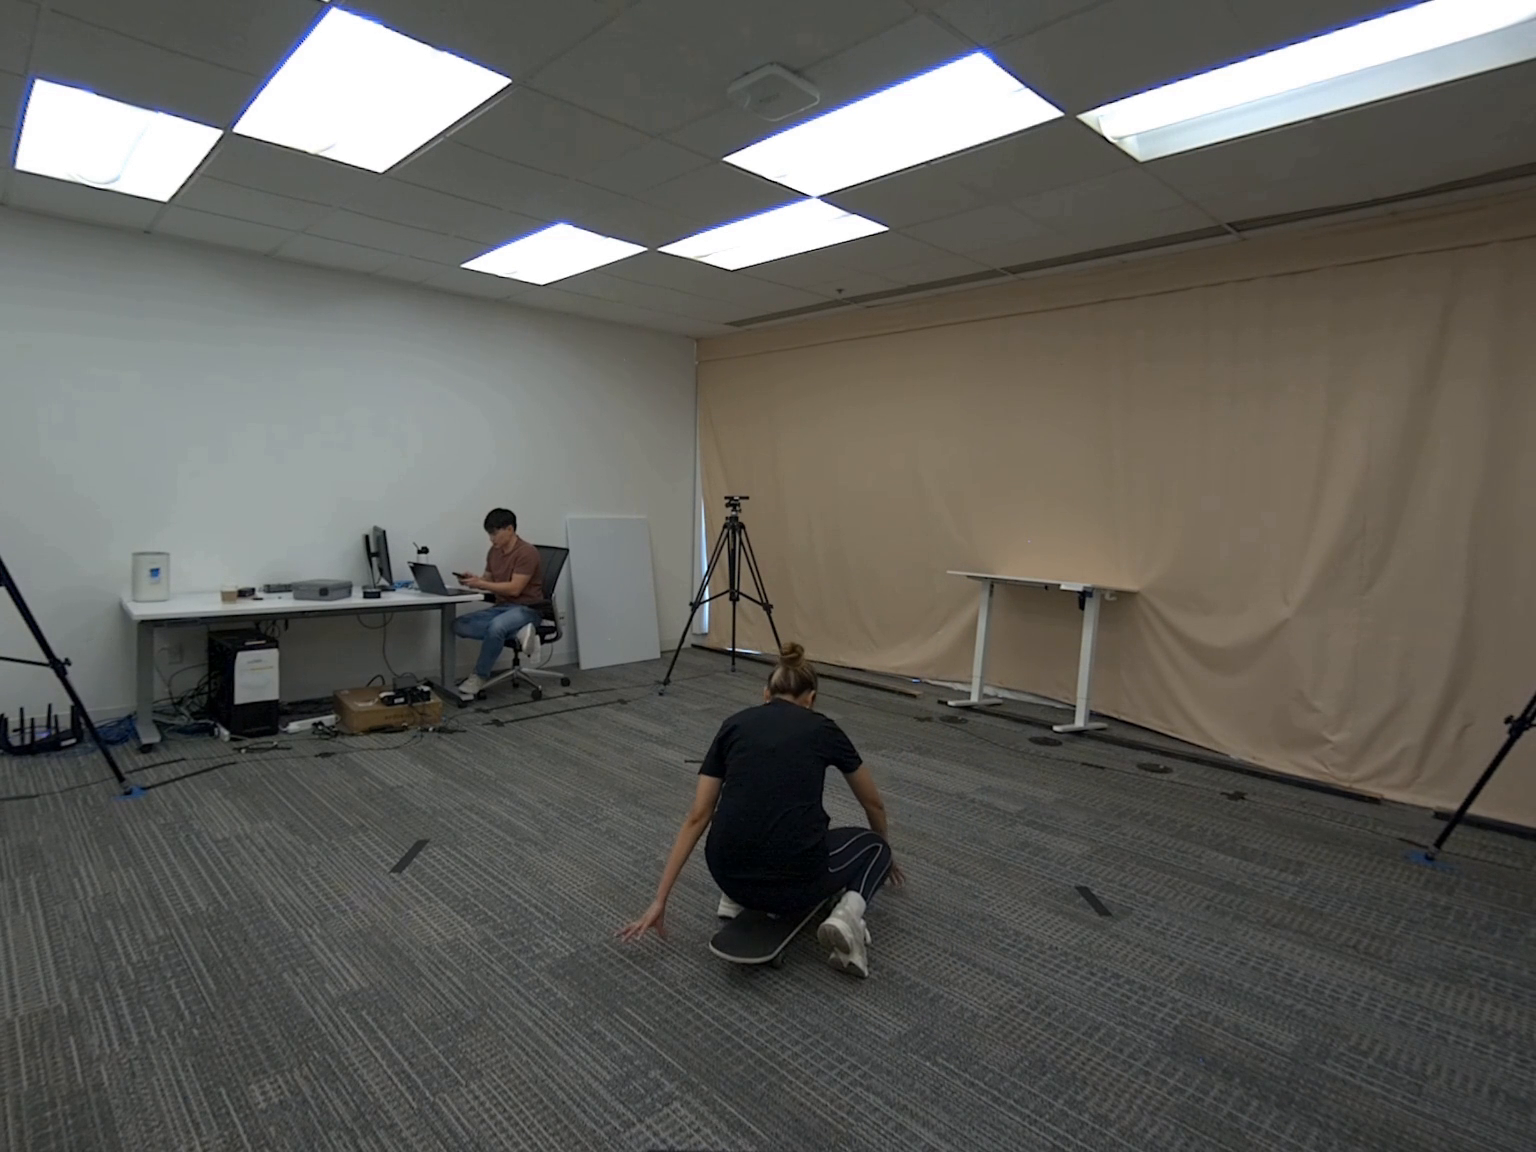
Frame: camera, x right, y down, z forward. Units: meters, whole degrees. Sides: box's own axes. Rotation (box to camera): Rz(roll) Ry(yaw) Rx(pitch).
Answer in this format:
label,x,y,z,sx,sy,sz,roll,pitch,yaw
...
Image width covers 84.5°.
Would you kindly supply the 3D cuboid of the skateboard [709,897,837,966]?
label,x,y,z,sx,sy,sz,roll,pitch,yaw
skateboard,0.053,1.074,2.713,0.197,0.110,0.771,5,7,27
